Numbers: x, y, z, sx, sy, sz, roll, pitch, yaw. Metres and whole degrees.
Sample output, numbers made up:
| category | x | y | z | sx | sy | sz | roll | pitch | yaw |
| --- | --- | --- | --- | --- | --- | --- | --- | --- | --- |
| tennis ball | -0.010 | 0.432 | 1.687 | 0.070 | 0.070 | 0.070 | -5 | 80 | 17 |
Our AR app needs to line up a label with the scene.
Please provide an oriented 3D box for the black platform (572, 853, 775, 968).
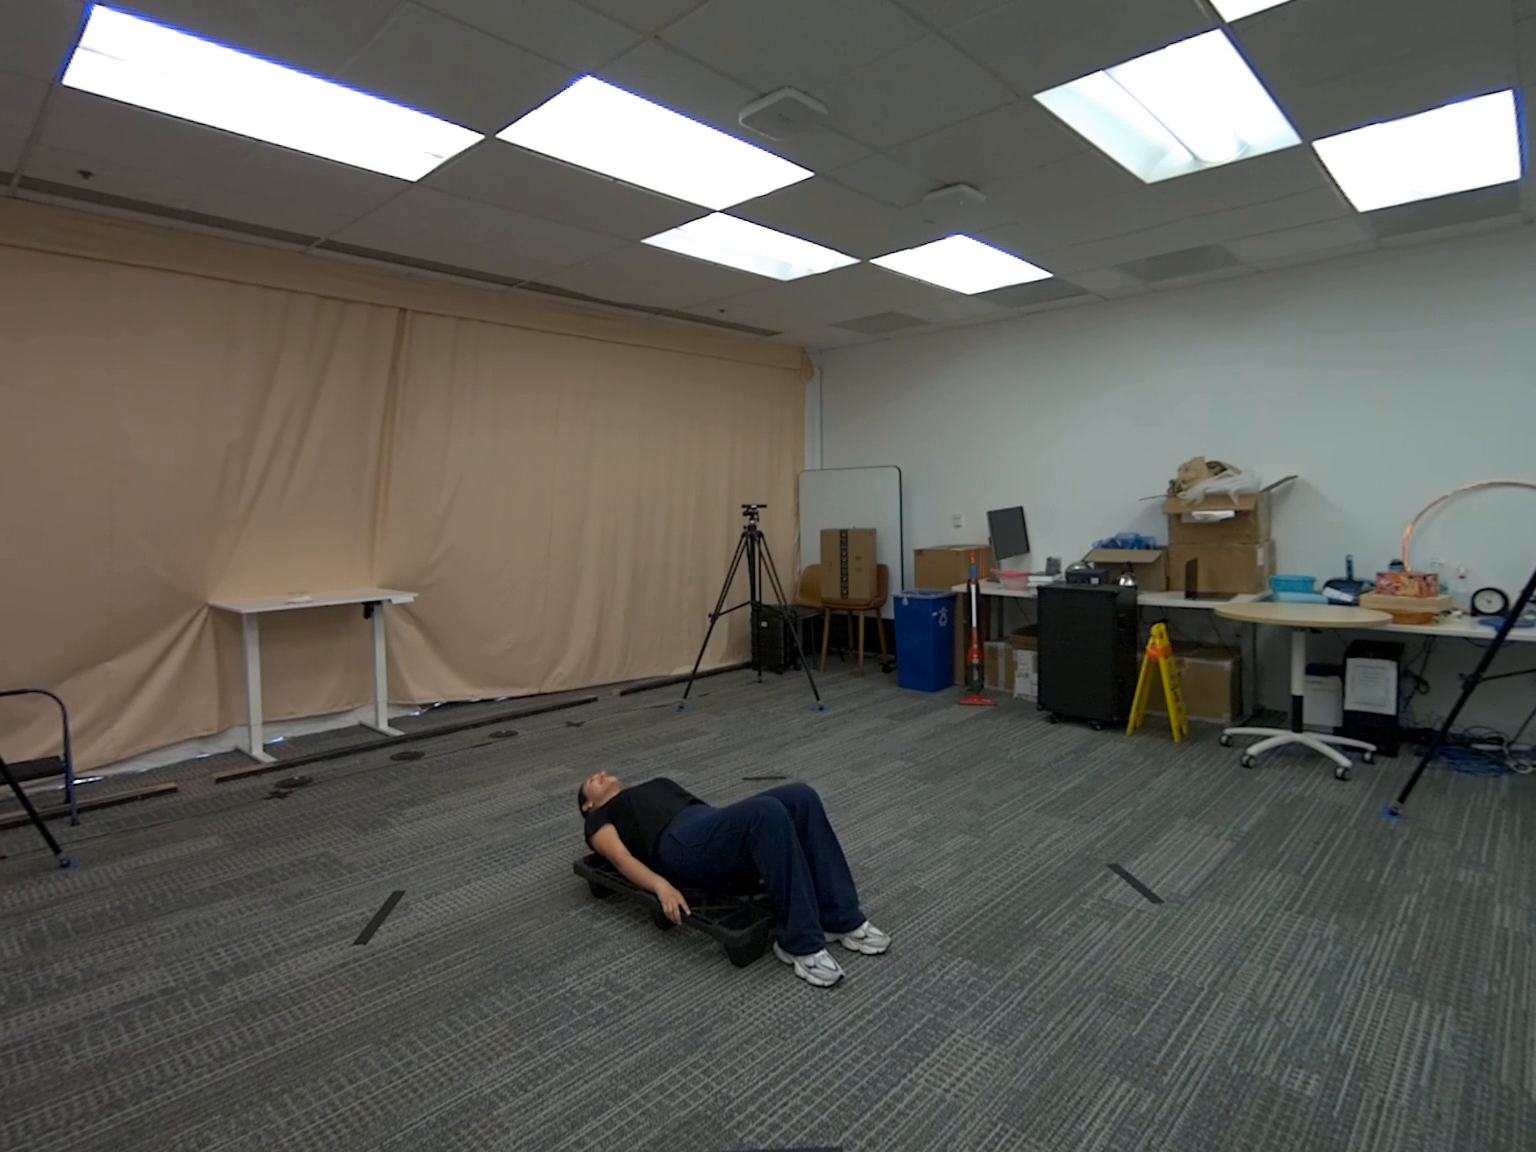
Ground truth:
| category | x | y | z | sx | sy | sz | roll | pitch | yaw |
| --- | --- | --- | --- | --- | --- | --- | --- | --- | --- |
| black platform | -0.199 | 1.086 | 2.943 | 0.832 | 0.143 | 0.587 | 3 | 6 | 41 |
